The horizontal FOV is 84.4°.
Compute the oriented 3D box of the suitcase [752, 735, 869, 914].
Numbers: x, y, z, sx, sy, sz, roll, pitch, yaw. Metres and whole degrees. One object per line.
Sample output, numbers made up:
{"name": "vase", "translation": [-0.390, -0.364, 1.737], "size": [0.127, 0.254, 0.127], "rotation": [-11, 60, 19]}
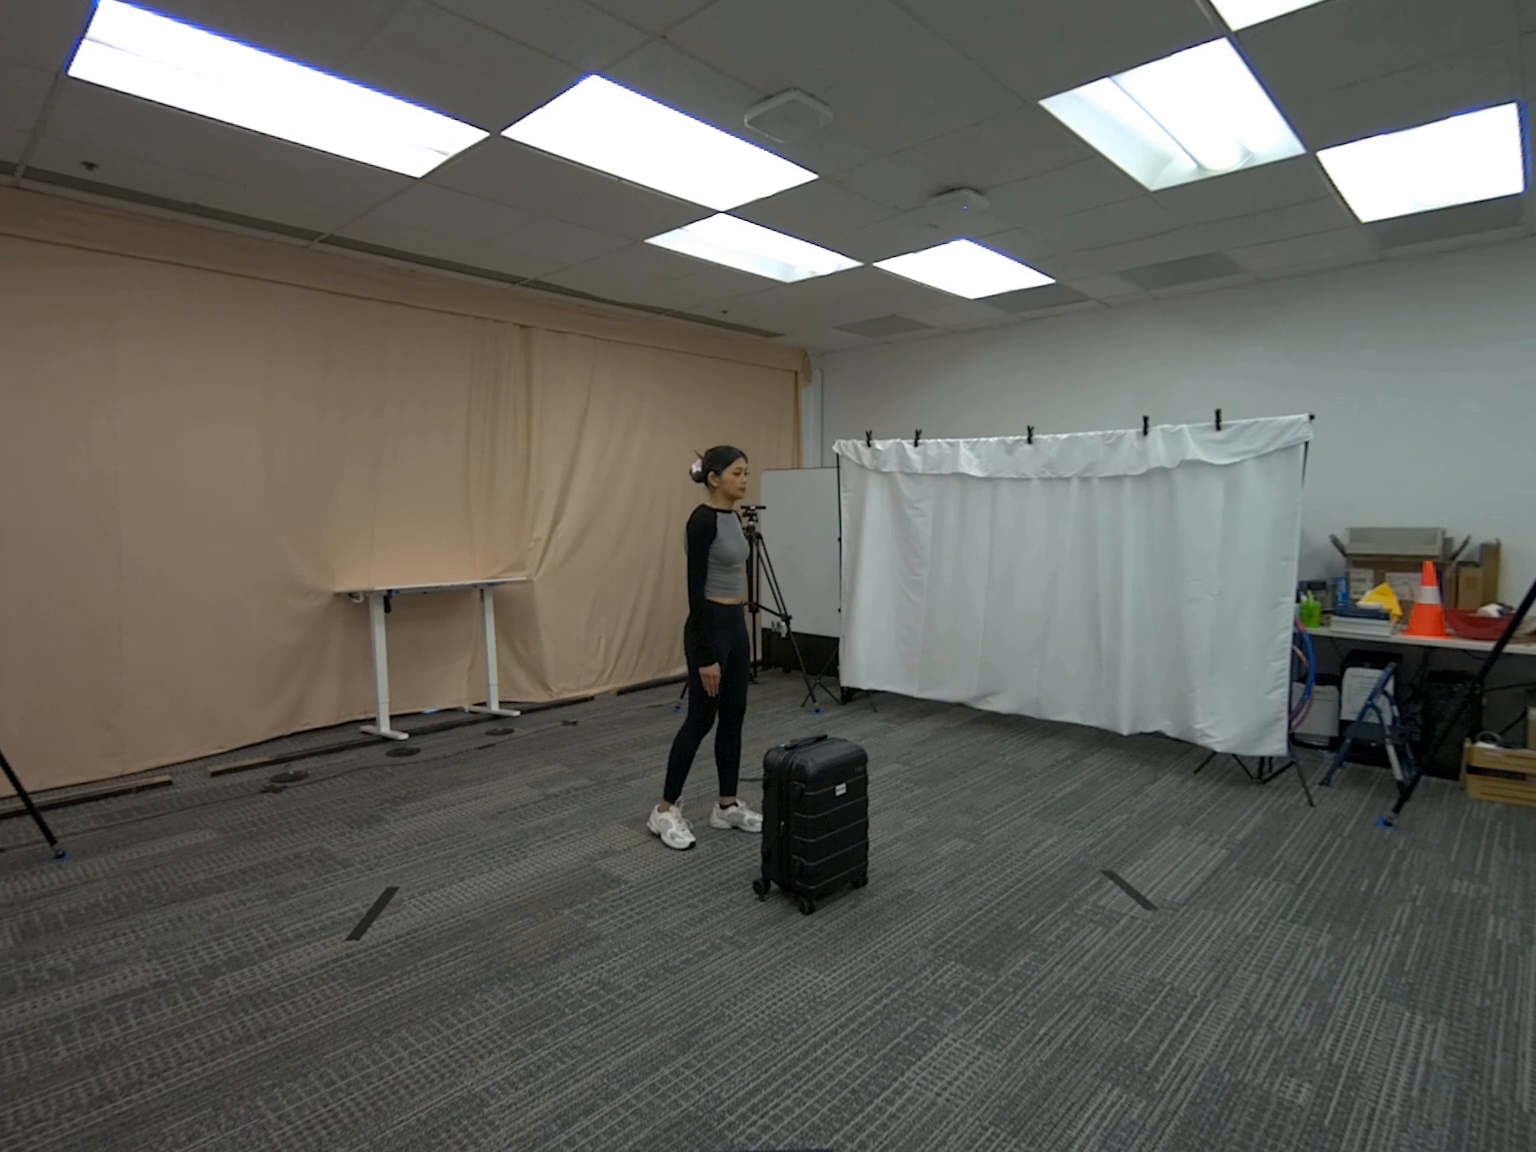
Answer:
{"name": "suitcase", "translation": [0.173, 0.864, 3.025], "size": [0.364, 0.548, 0.257], "rotation": [-3, 7, -45]}
